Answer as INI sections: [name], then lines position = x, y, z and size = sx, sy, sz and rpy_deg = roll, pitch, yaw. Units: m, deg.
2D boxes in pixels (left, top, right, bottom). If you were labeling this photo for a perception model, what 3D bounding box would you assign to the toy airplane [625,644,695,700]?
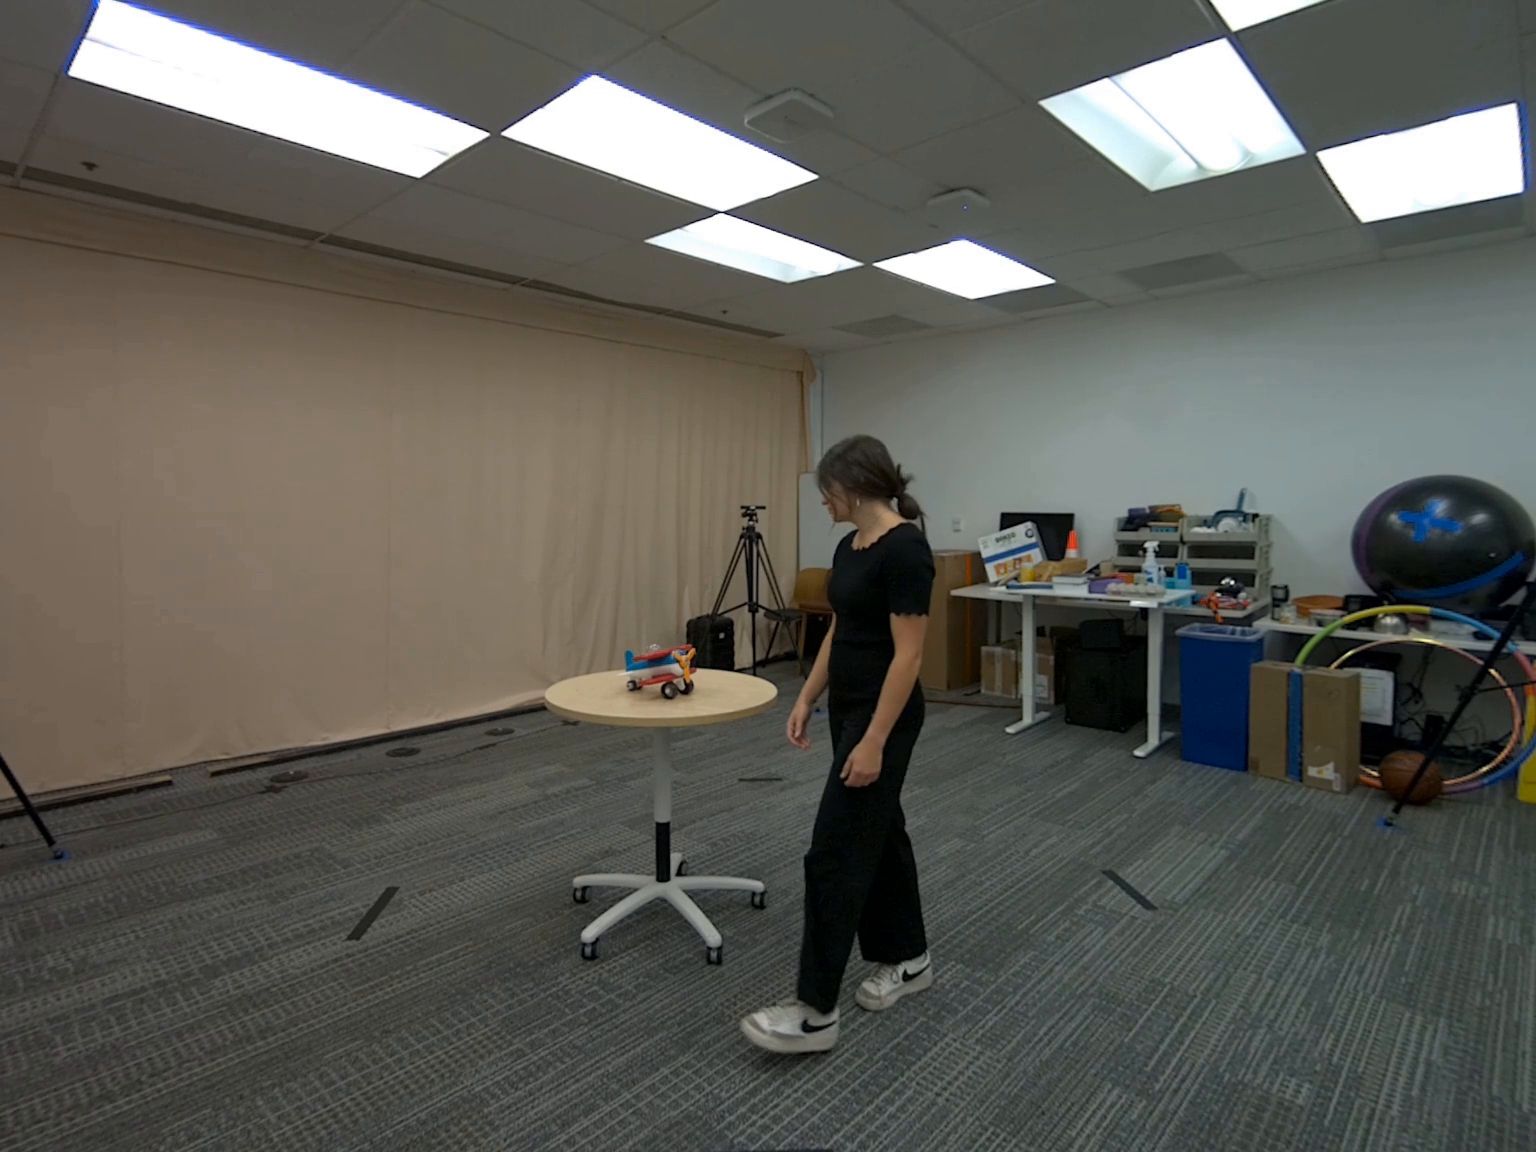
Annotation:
[toy airplane]
position = -0.363, 0.306, 2.713
size = 0.261, 0.156, 0.250
rpy_deg = 1, 4, 4
